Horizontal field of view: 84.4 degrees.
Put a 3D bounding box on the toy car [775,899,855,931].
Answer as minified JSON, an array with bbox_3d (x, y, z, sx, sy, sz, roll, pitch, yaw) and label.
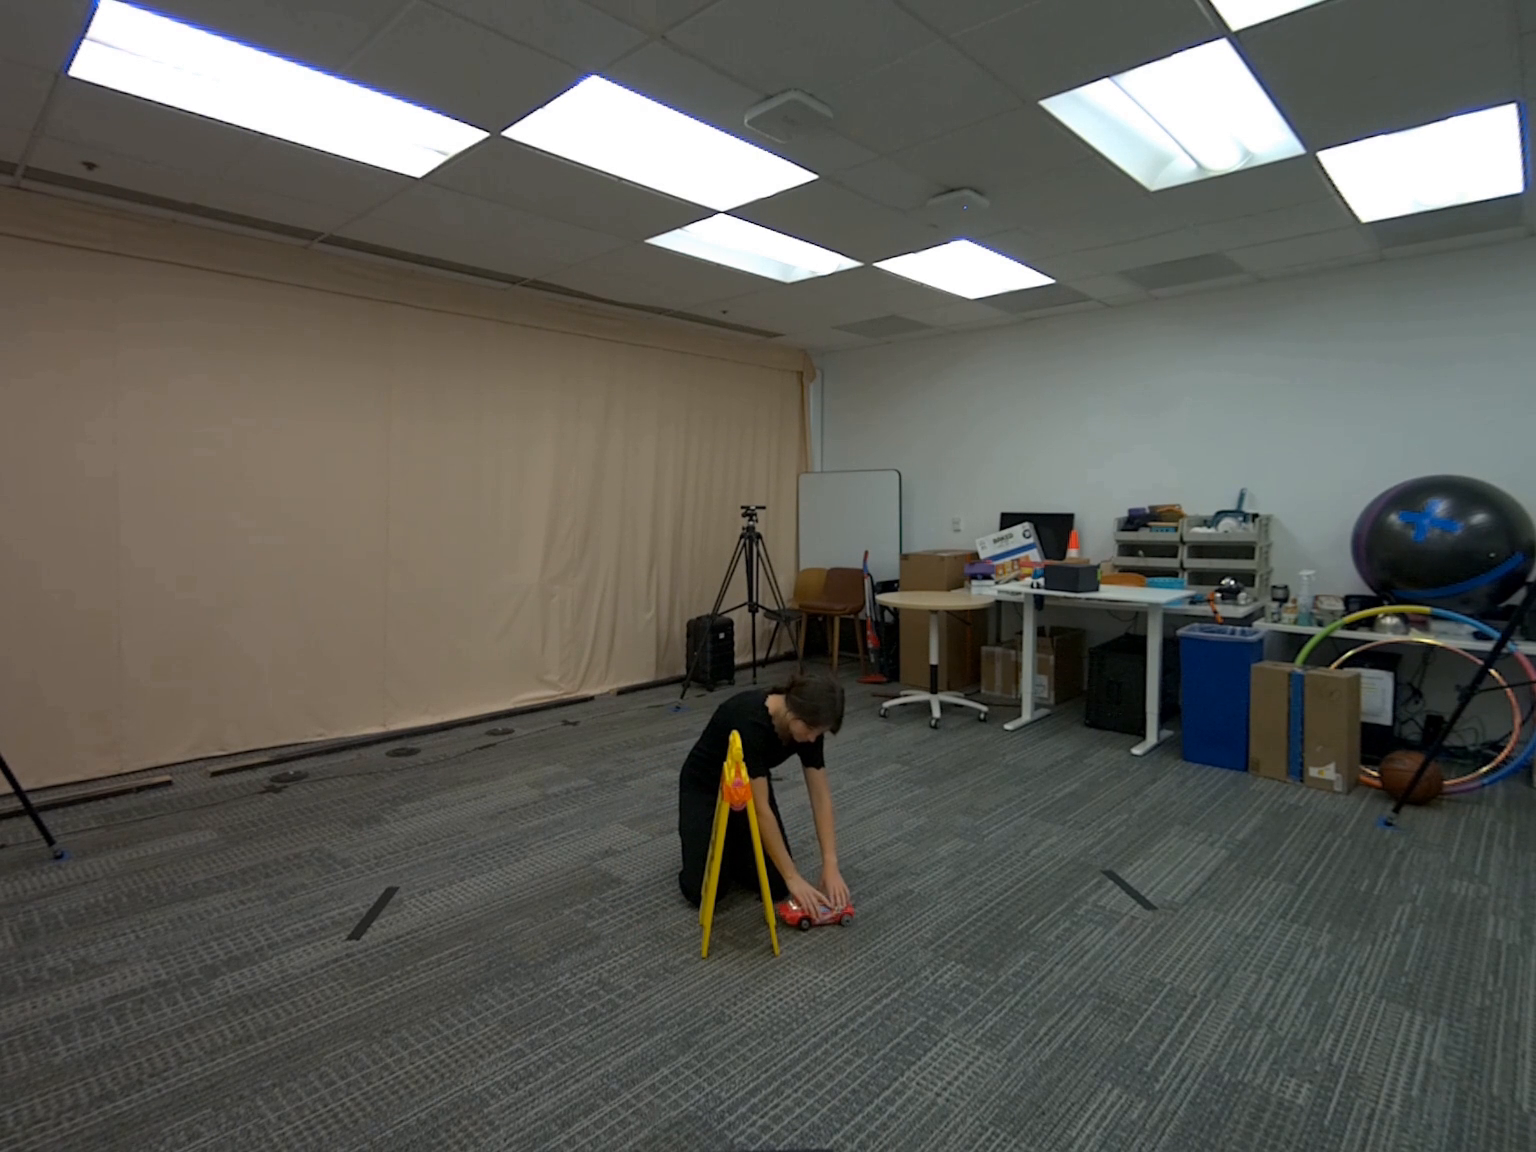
[{"bbox_3d":[0.160,1.129,2.808,0.250,0.083,0.132,12,1,-15],"label":"toy car"}]
